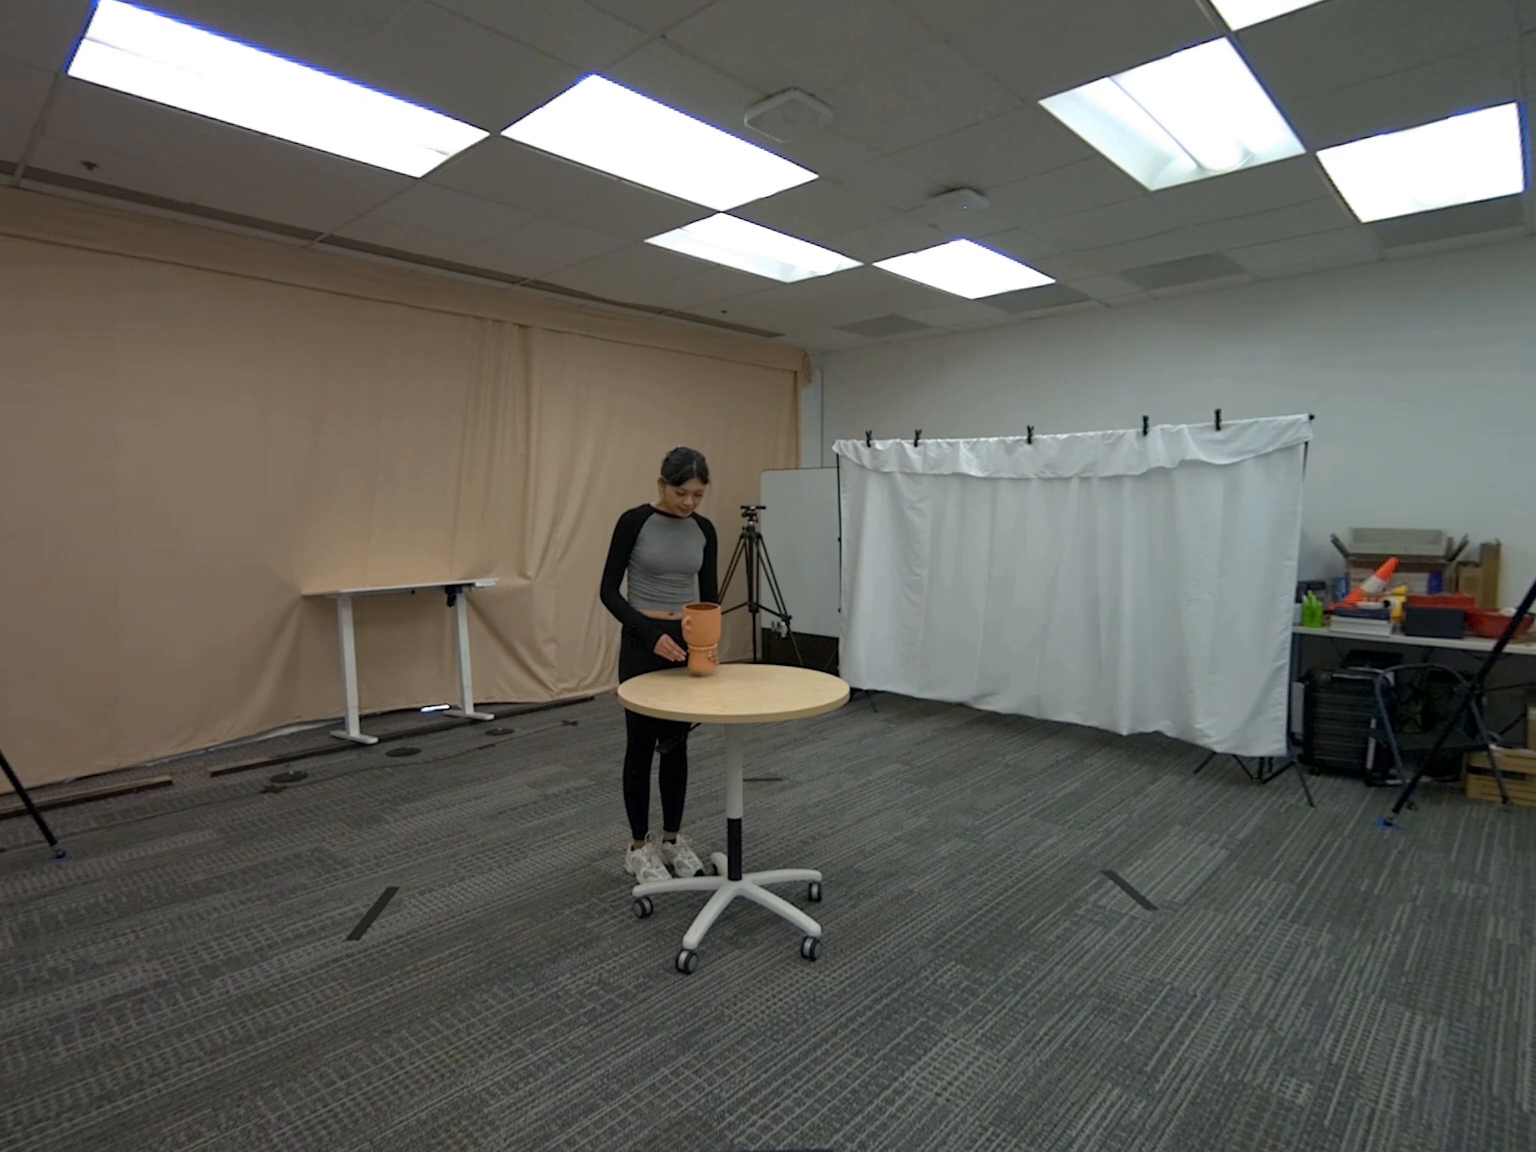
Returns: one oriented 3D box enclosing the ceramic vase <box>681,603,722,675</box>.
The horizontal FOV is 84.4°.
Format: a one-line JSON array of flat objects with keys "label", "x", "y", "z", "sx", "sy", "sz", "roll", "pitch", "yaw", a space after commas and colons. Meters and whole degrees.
[{"label": "ceramic vase", "x": -0.224, "y": 0.213, "z": 2.959, "sx": 0.156, "sy": 0.218, "sz": 0.137, "roll": -2, "pitch": 9, "yaw": -14}]
